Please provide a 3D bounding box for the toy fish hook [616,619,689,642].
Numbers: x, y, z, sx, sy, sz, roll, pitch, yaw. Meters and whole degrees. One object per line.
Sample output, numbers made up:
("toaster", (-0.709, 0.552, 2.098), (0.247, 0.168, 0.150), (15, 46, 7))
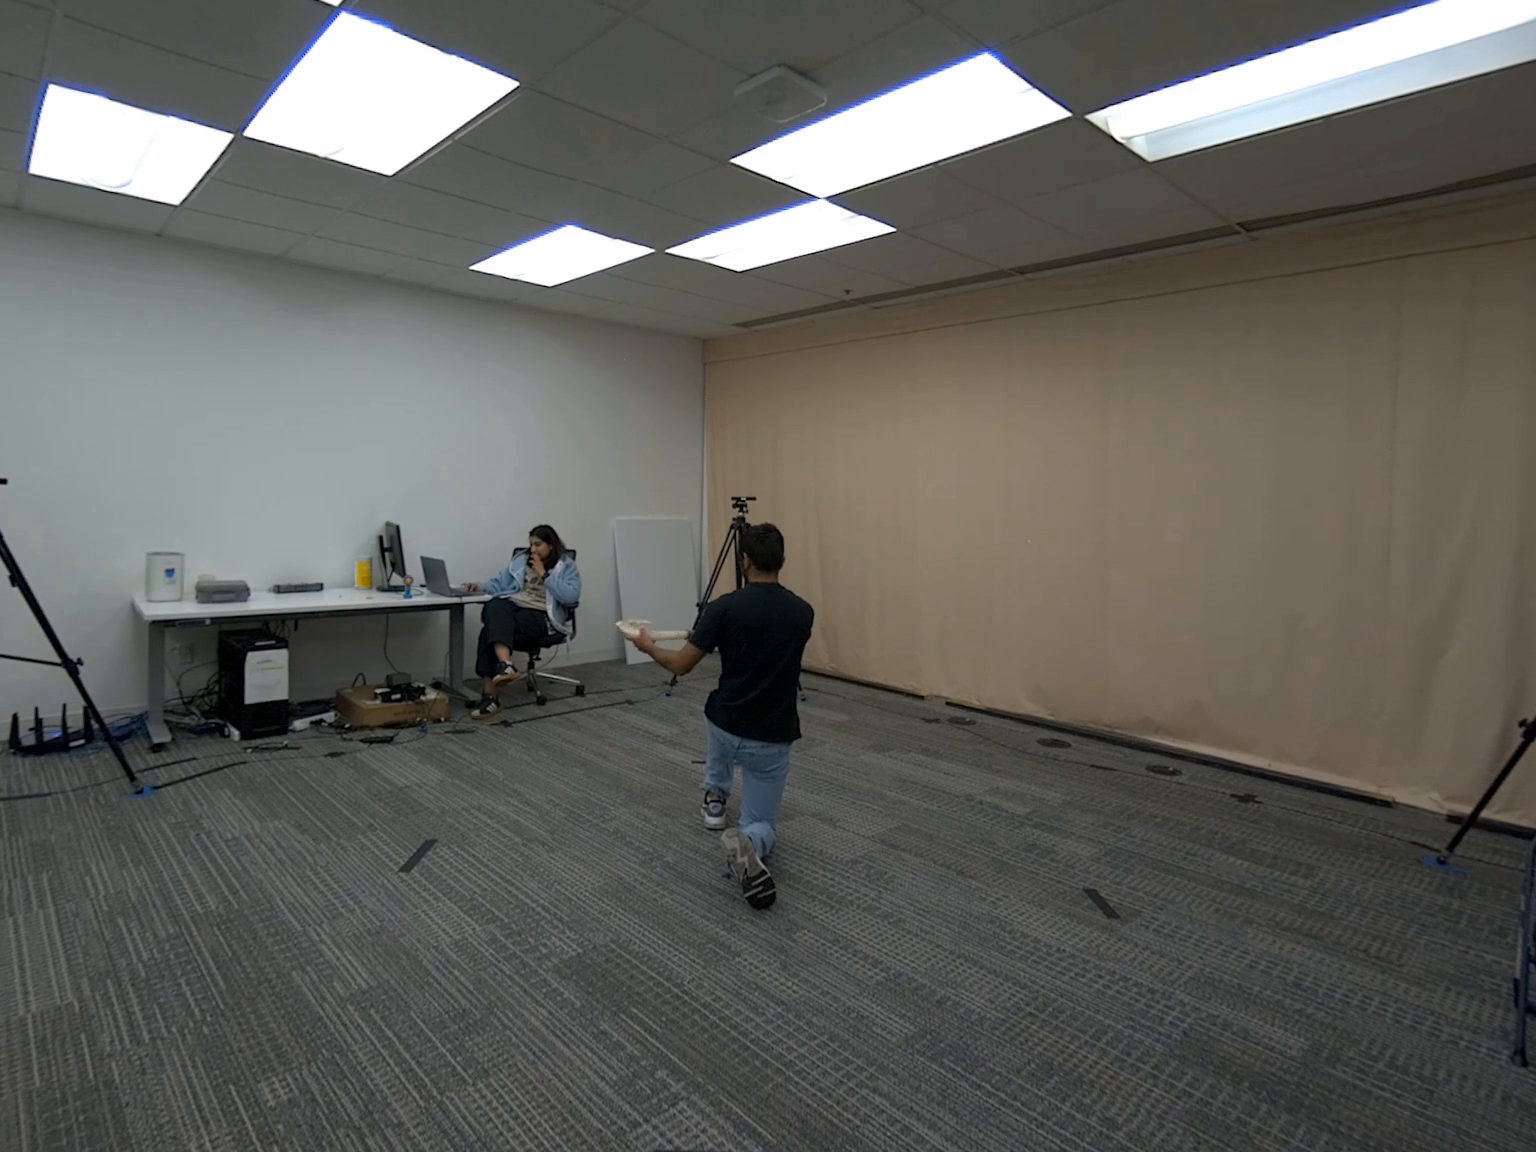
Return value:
("toy fish hook", (-0.416, 0.245, 3.757), (0.495, 0.048, 0.231), (6, 19, -32))
